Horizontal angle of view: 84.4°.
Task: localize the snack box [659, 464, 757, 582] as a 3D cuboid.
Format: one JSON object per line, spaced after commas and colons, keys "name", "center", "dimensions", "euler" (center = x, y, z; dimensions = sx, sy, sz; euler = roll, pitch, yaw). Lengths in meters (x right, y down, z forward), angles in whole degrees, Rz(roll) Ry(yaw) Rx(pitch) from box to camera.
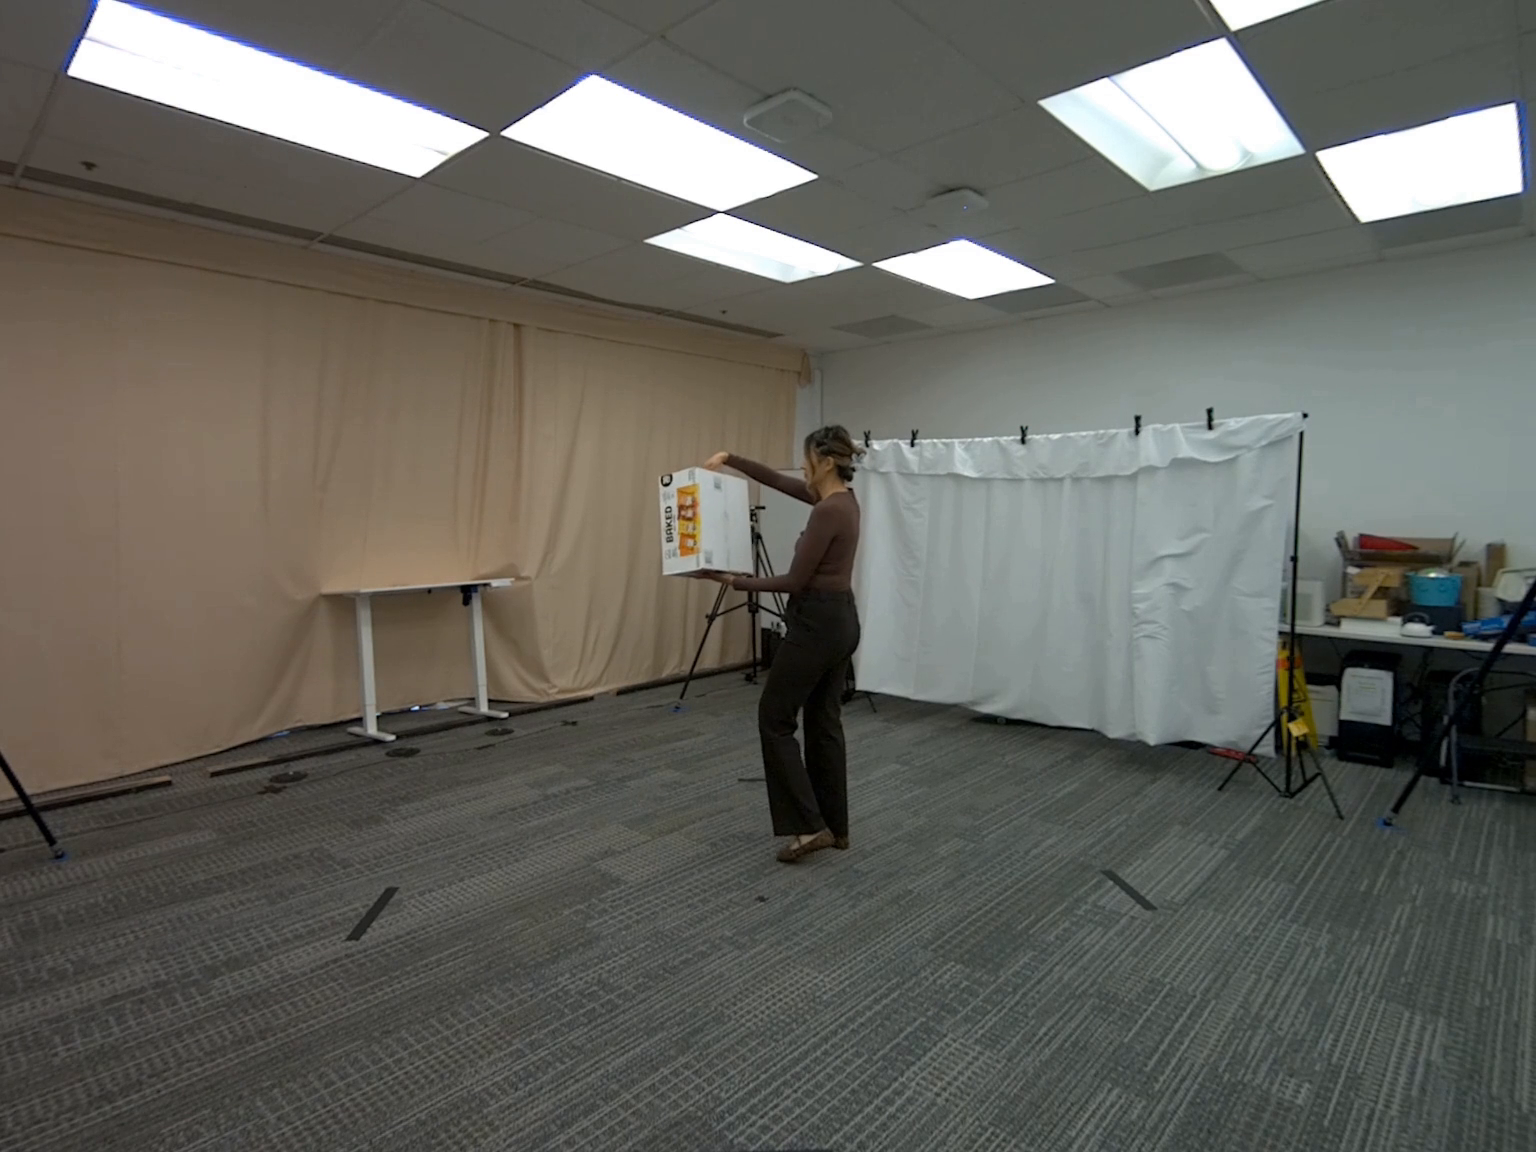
{"name": "snack box", "center": [-0.246, -0.207, 3.443], "dimensions": [0.211, 0.408, 0.329], "euler": [-11, -12, 36]}
